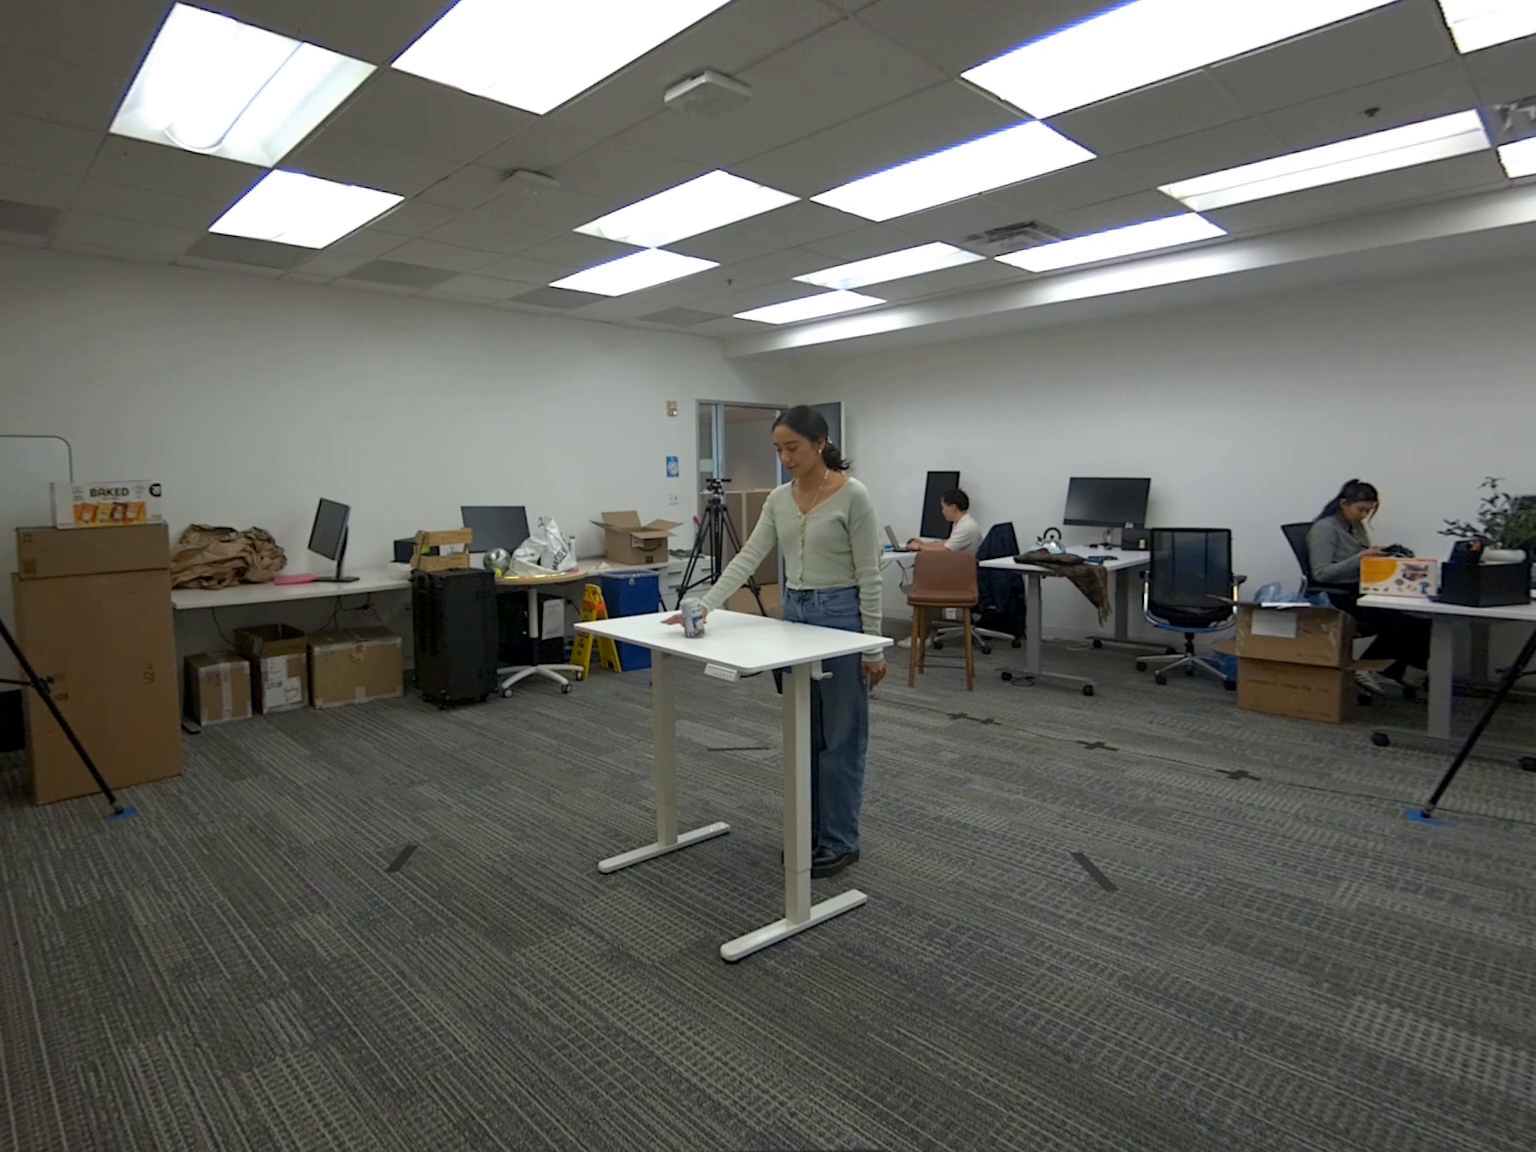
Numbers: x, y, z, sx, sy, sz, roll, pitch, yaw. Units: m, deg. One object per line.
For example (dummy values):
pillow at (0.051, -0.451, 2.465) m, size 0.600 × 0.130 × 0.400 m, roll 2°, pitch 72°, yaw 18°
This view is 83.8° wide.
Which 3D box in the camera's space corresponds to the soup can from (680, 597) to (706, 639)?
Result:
soup can at (-0.250, 0.140, 2.786) m, size 0.067 × 0.121 × 0.067 m, roll -5°, pitch 6°, yaw -1°
